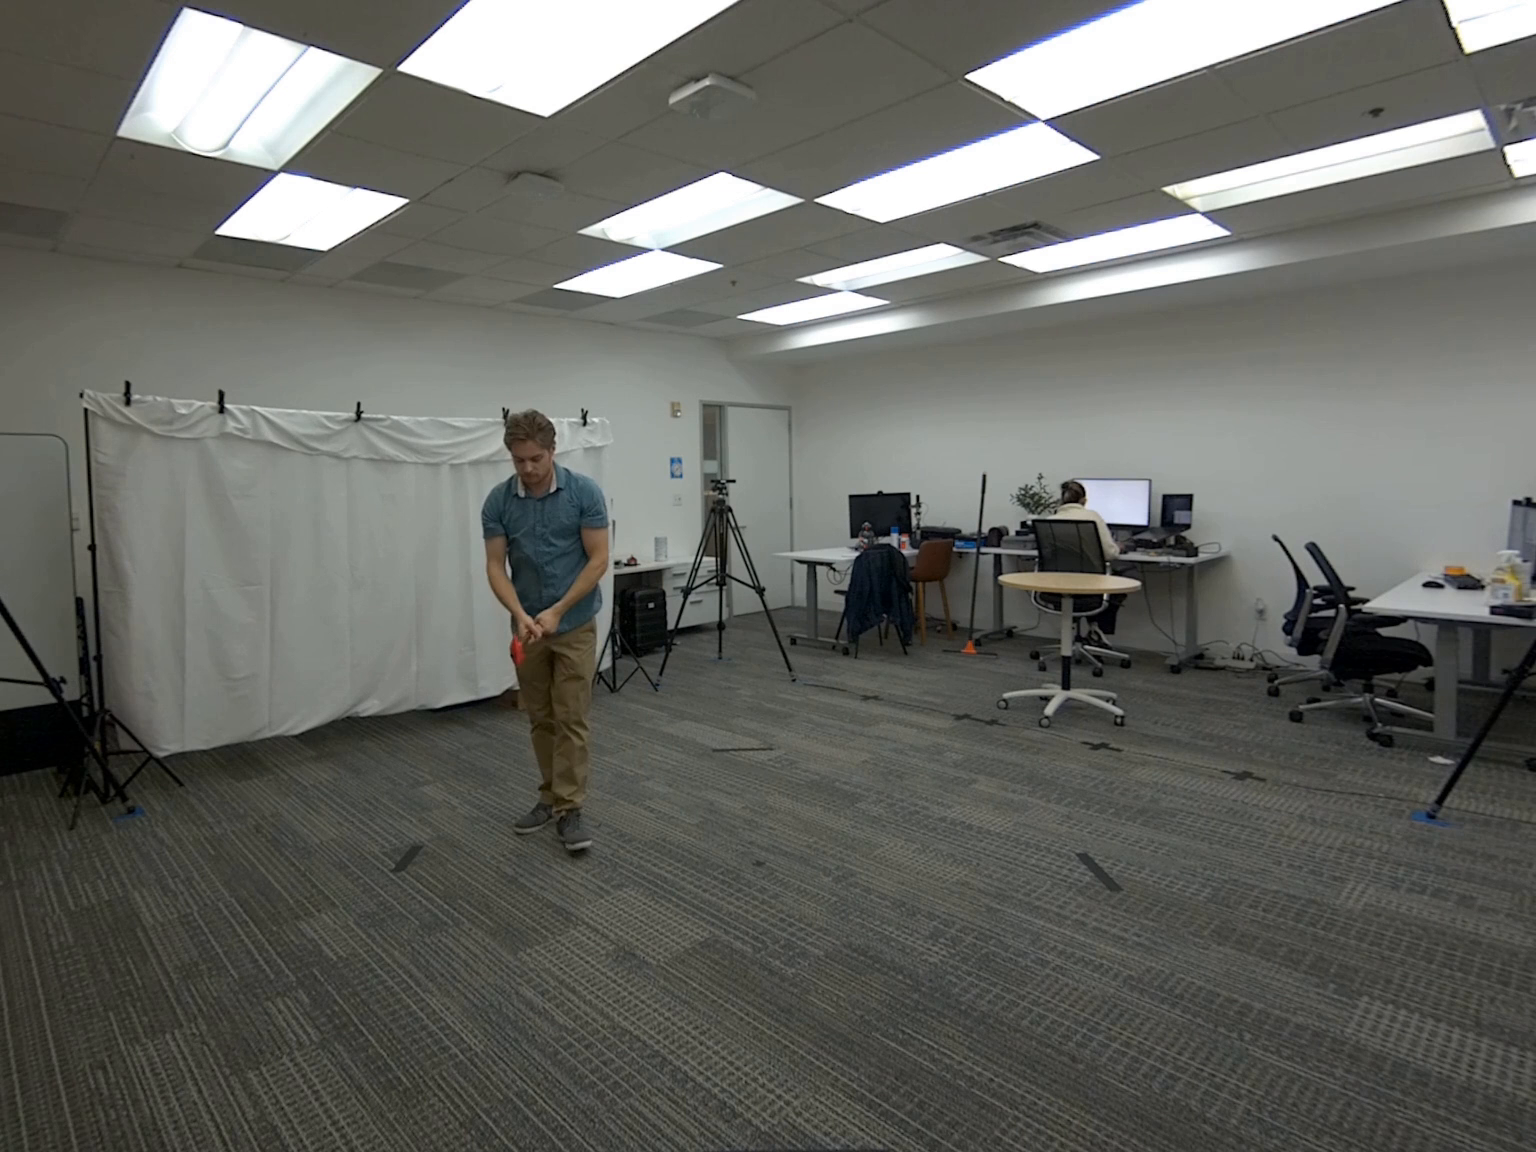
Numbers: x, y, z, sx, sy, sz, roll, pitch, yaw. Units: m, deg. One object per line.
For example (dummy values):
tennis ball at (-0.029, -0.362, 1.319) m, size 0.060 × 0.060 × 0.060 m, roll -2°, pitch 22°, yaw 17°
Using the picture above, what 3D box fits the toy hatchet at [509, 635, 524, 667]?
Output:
toy hatchet at (-0.910, 0.256, 3.167) m, size 0.030 × 0.130 × 0.269 m, roll 2°, pitch 8°, yaw 9°
